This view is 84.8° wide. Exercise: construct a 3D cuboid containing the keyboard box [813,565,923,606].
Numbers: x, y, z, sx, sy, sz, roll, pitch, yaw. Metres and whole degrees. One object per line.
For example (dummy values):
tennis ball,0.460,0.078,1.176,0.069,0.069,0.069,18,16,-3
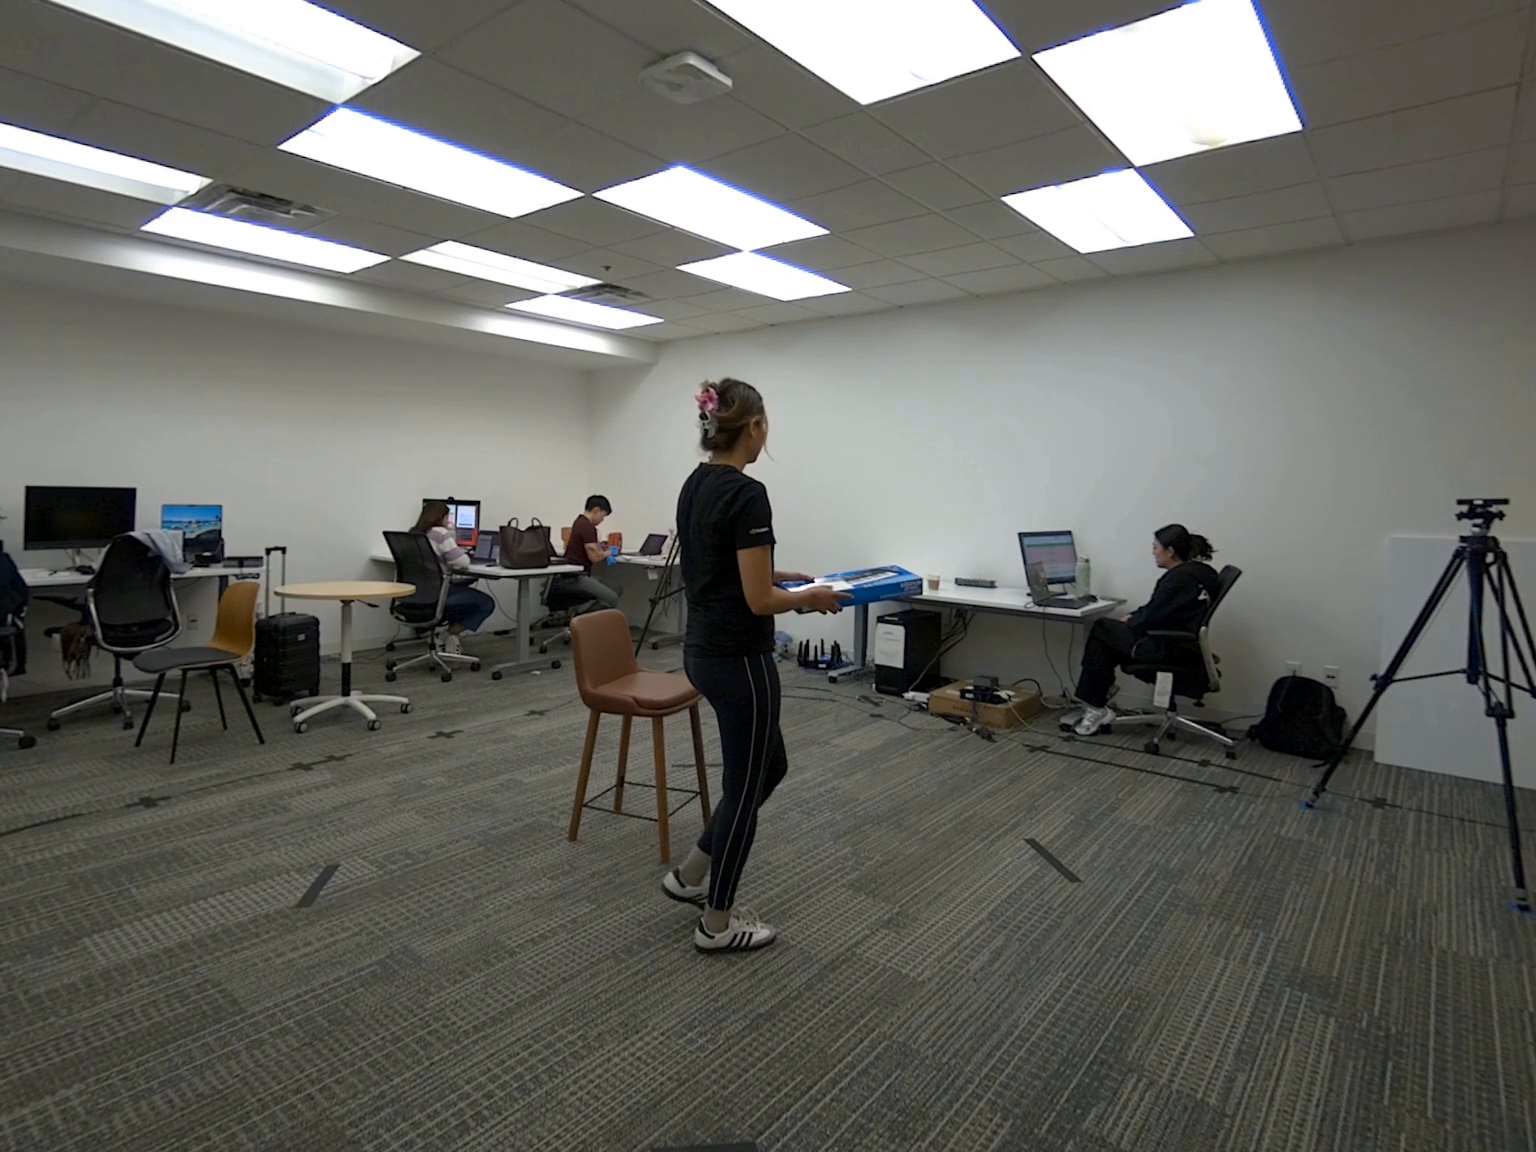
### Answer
keyboard box,0.253,0.042,2.745,0.431,0.058,0.181,-8,17,-14
